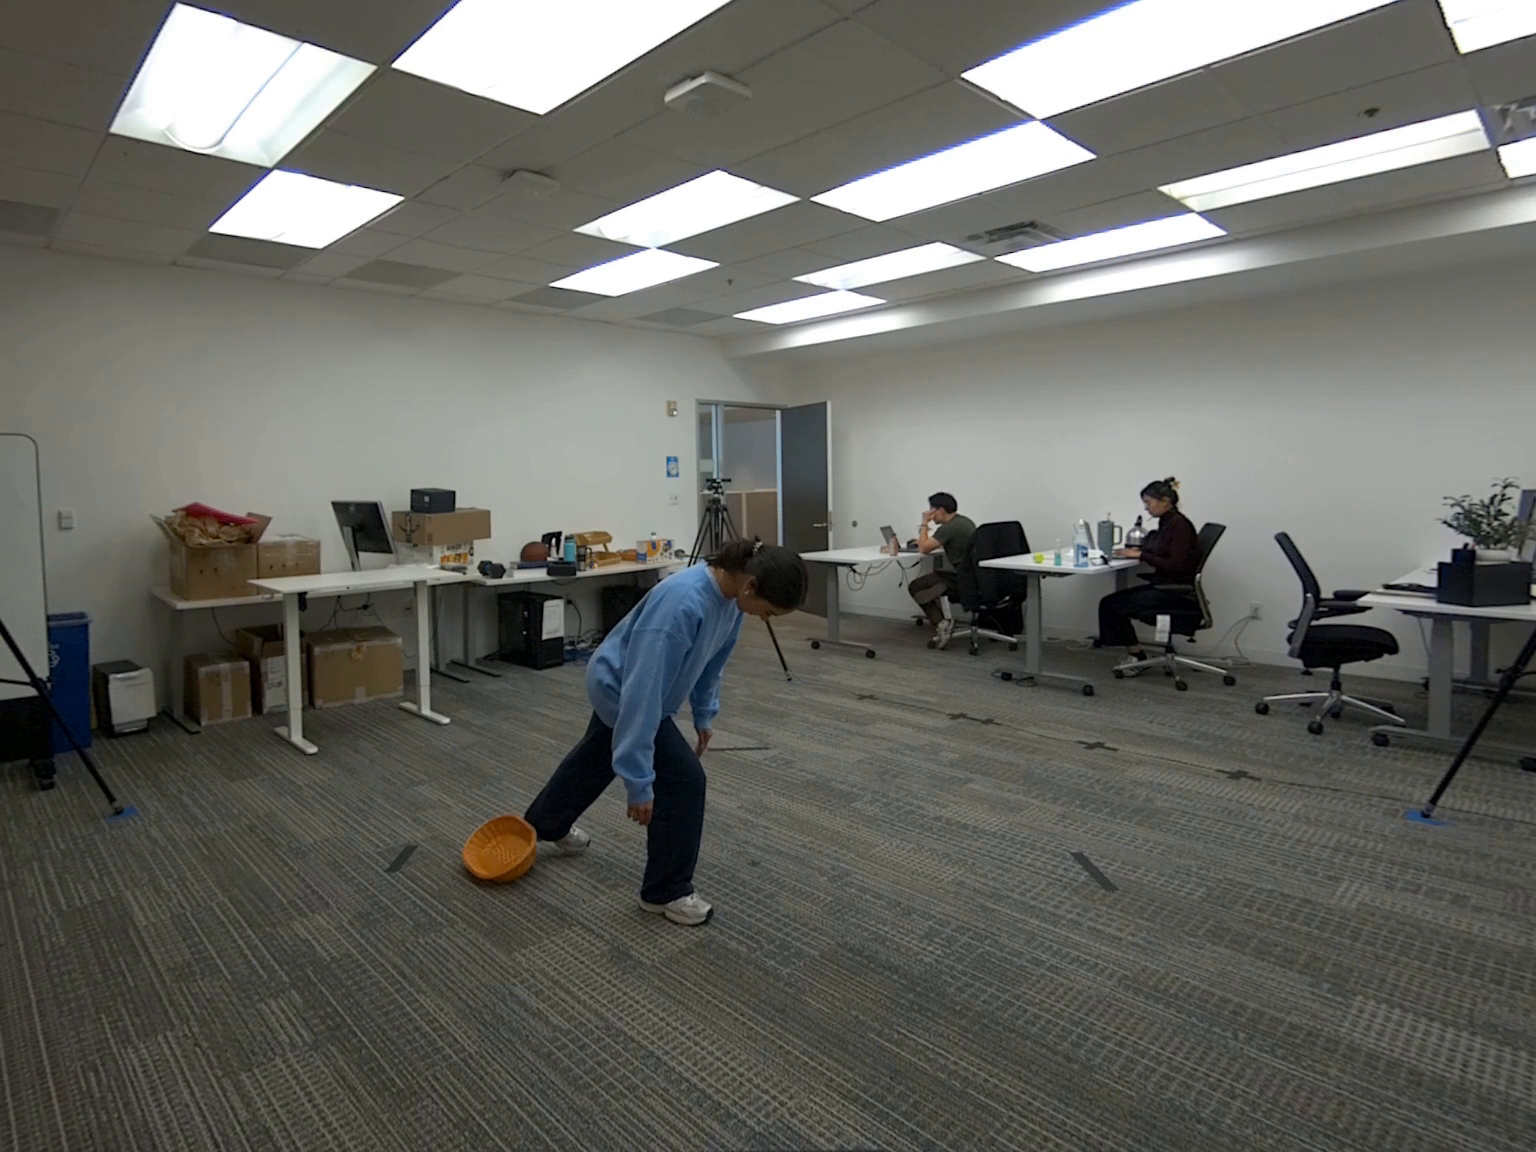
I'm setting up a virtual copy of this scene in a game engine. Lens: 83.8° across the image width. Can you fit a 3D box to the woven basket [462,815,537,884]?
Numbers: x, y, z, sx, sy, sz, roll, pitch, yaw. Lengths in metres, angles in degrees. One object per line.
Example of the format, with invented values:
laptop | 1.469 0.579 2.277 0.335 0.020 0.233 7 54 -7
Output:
woven basket | -0.970 1.003 3.085 0.250 0.071 0.361 -36 26 -29
